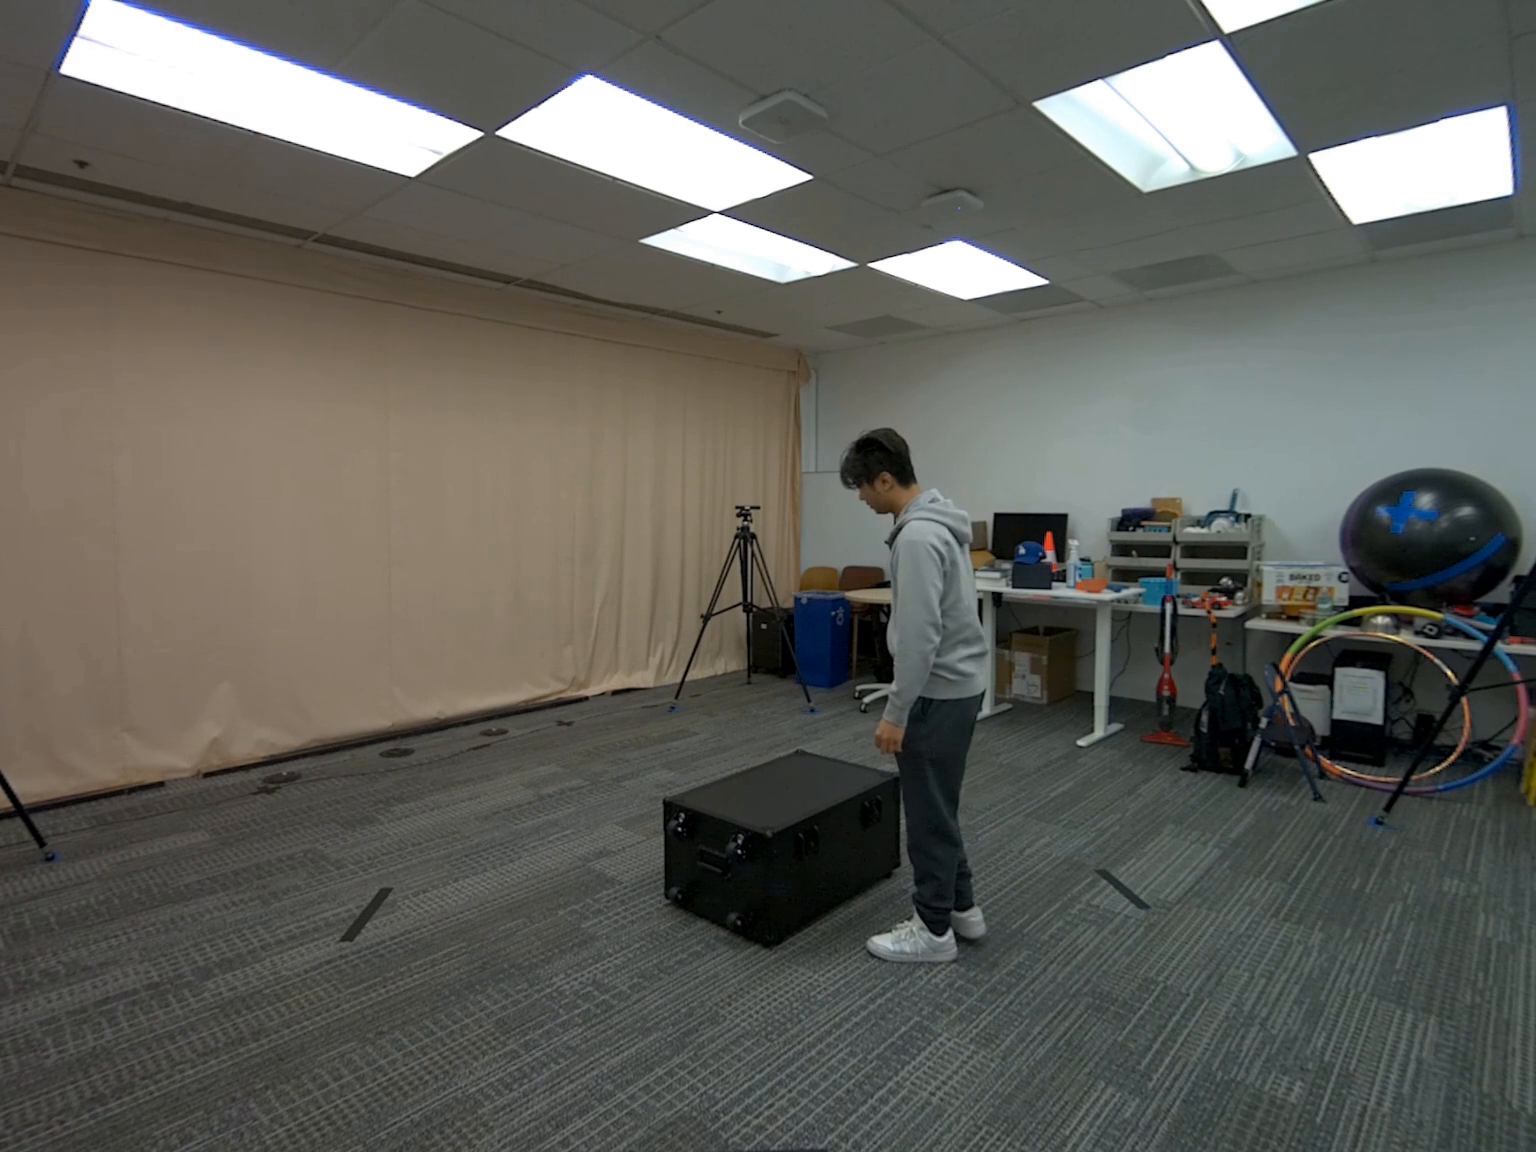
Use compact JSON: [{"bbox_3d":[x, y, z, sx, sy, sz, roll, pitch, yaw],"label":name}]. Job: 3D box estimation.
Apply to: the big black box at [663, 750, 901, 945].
[{"bbox_3d":[0.047,0.949,3.037,0.538,0.395,0.835,4,5,41],"label":"big black box"}]
